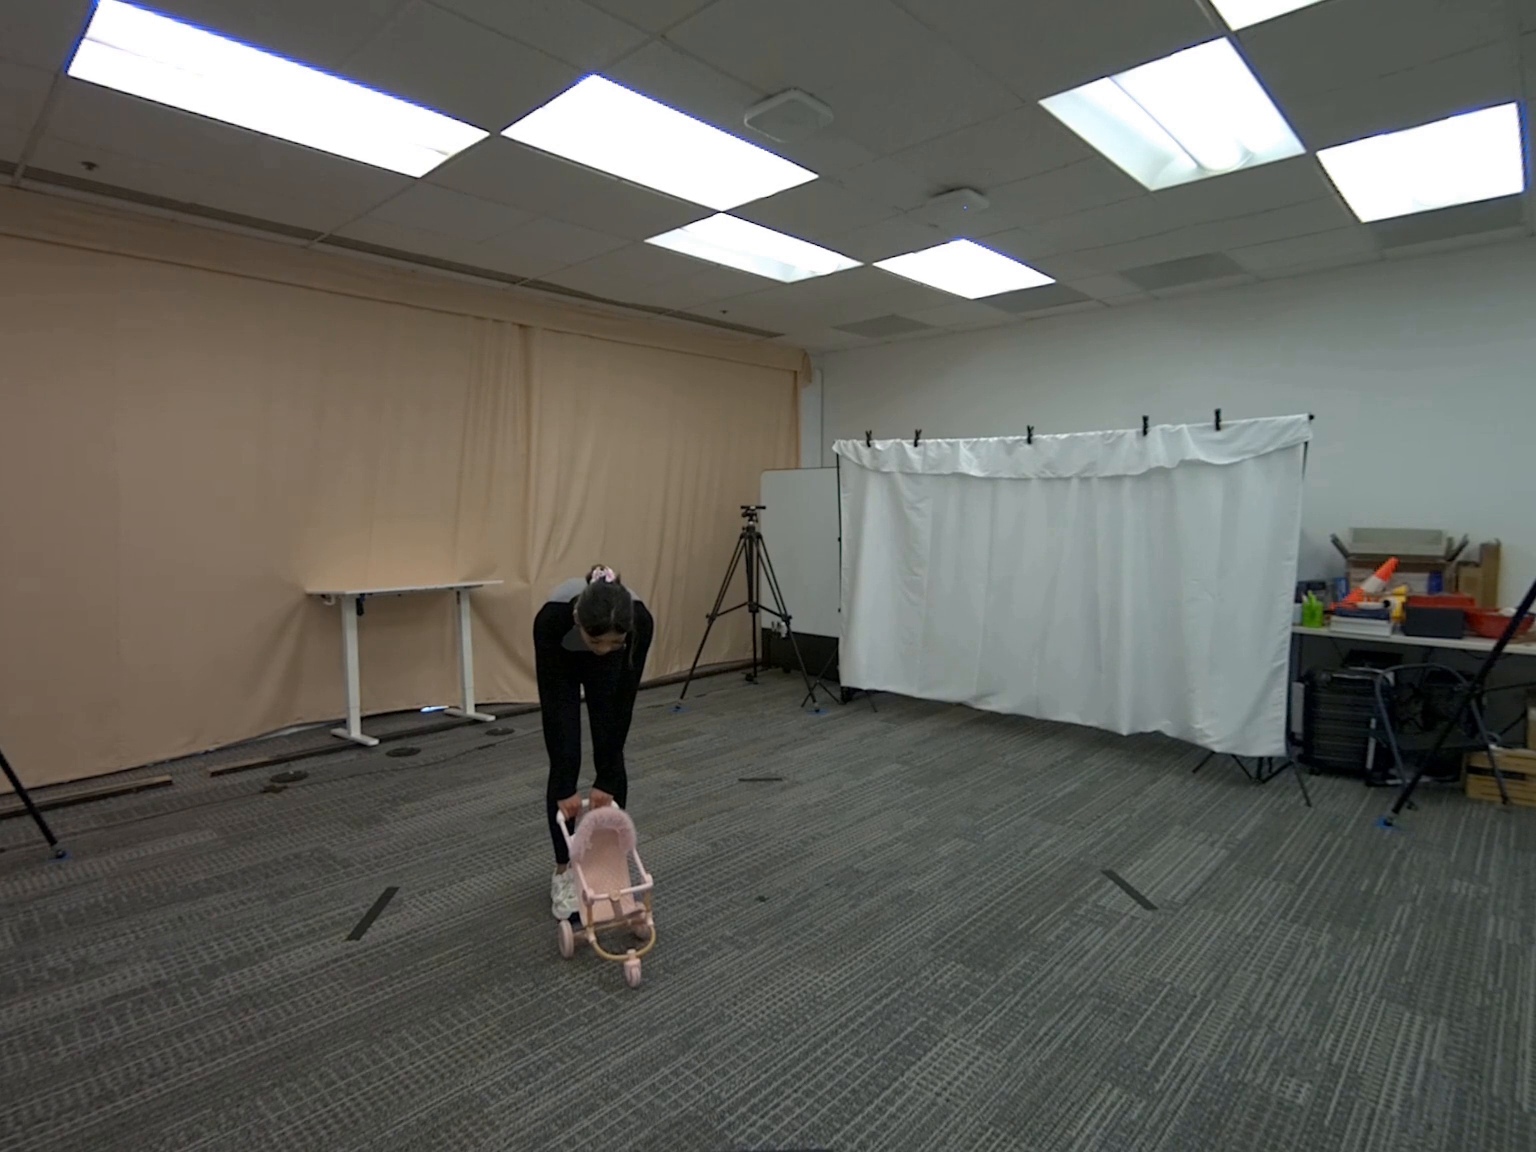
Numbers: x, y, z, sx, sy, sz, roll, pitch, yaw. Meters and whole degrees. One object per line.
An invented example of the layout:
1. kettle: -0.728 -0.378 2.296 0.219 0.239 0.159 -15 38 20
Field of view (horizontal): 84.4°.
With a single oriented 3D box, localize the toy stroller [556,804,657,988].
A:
1. toy stroller: -0.488 0.956 2.601 0.275 0.540 0.346 -3 -13 -26
